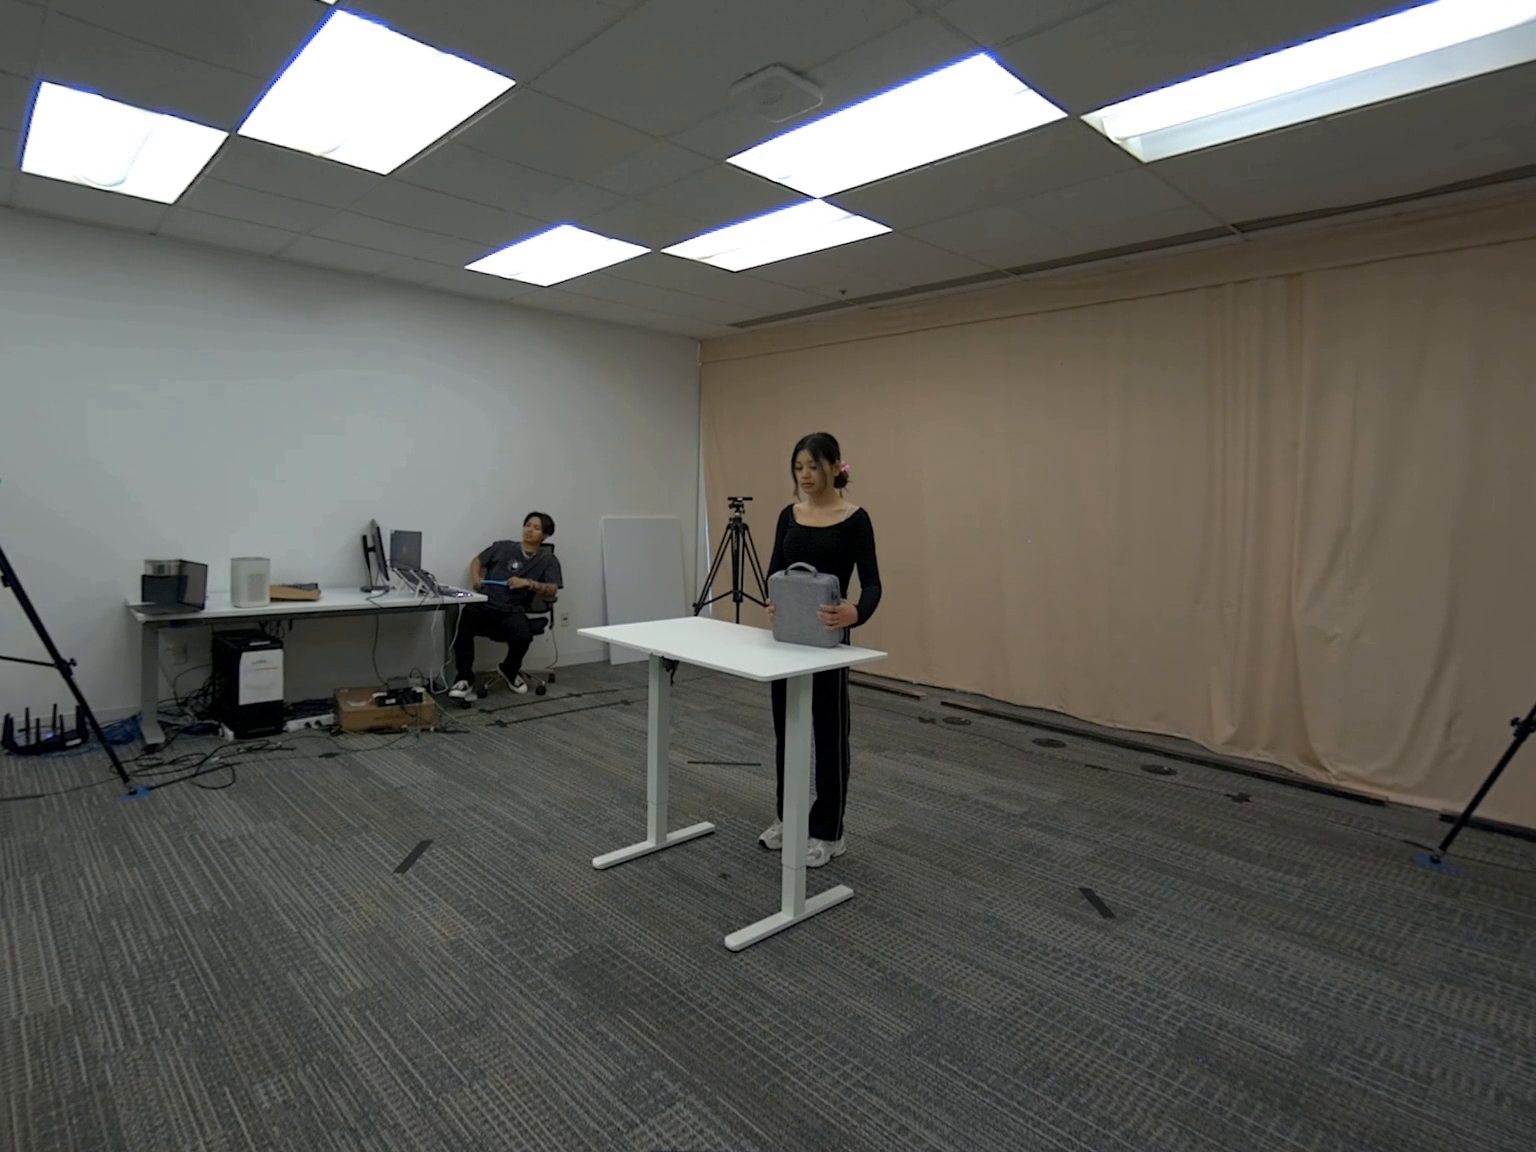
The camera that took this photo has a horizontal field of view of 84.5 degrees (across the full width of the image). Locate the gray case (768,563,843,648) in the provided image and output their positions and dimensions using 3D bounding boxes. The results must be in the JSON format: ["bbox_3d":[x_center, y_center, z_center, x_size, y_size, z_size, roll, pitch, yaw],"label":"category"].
[{"bbox_3d":[0.120,0.113,2.970,0.263,0.258,0.103,6,17,37],"label":"gray case"}]
